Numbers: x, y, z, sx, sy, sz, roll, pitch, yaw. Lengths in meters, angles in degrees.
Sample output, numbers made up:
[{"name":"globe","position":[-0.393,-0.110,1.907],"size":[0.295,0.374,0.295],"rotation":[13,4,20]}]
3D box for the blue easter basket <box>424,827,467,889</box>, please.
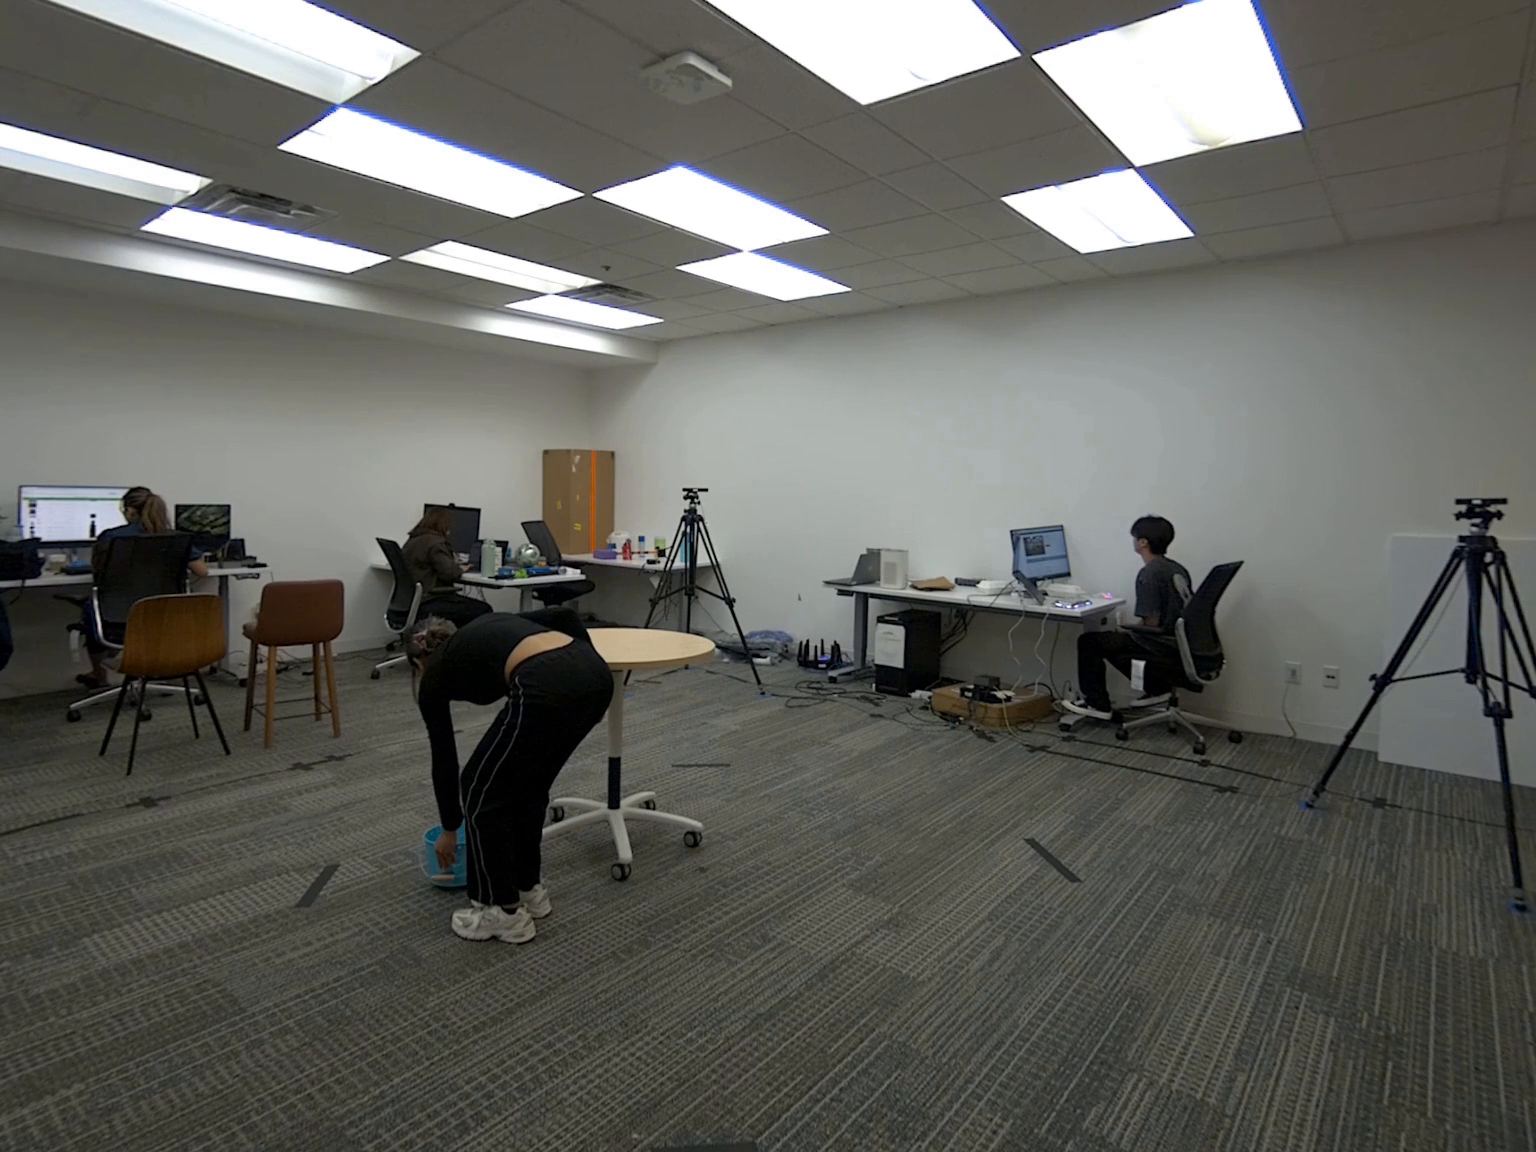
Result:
[{"name":"blue easter basket","position":[-1.104,0.963,2.969],"size":[0.243,0.156,0.244],"rotation":[-1,2,-2]}]
